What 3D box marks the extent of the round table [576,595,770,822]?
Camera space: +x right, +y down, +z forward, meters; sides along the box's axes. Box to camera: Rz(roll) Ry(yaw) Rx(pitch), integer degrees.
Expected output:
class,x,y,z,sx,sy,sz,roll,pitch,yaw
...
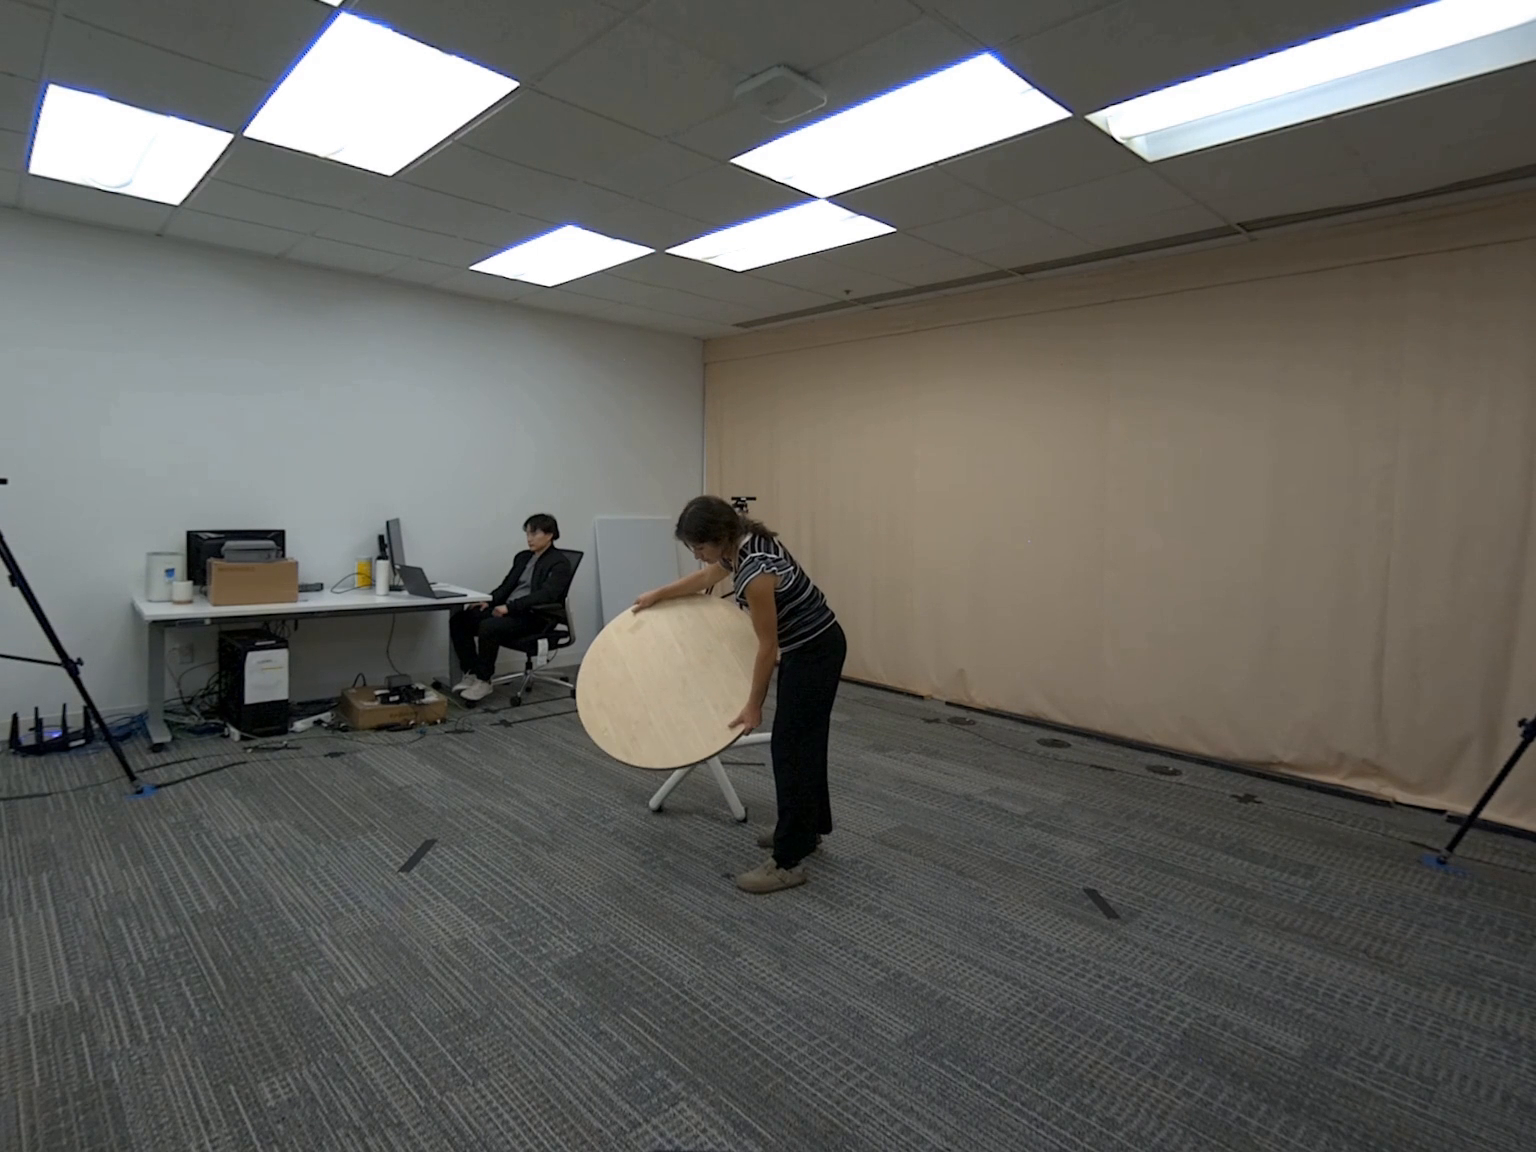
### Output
class,x,y,z,sx,sy,sz,roll,pitch,yaw
round table,-0.326,0.608,3.564,0.773,0.776,0.772,2,-37,13
